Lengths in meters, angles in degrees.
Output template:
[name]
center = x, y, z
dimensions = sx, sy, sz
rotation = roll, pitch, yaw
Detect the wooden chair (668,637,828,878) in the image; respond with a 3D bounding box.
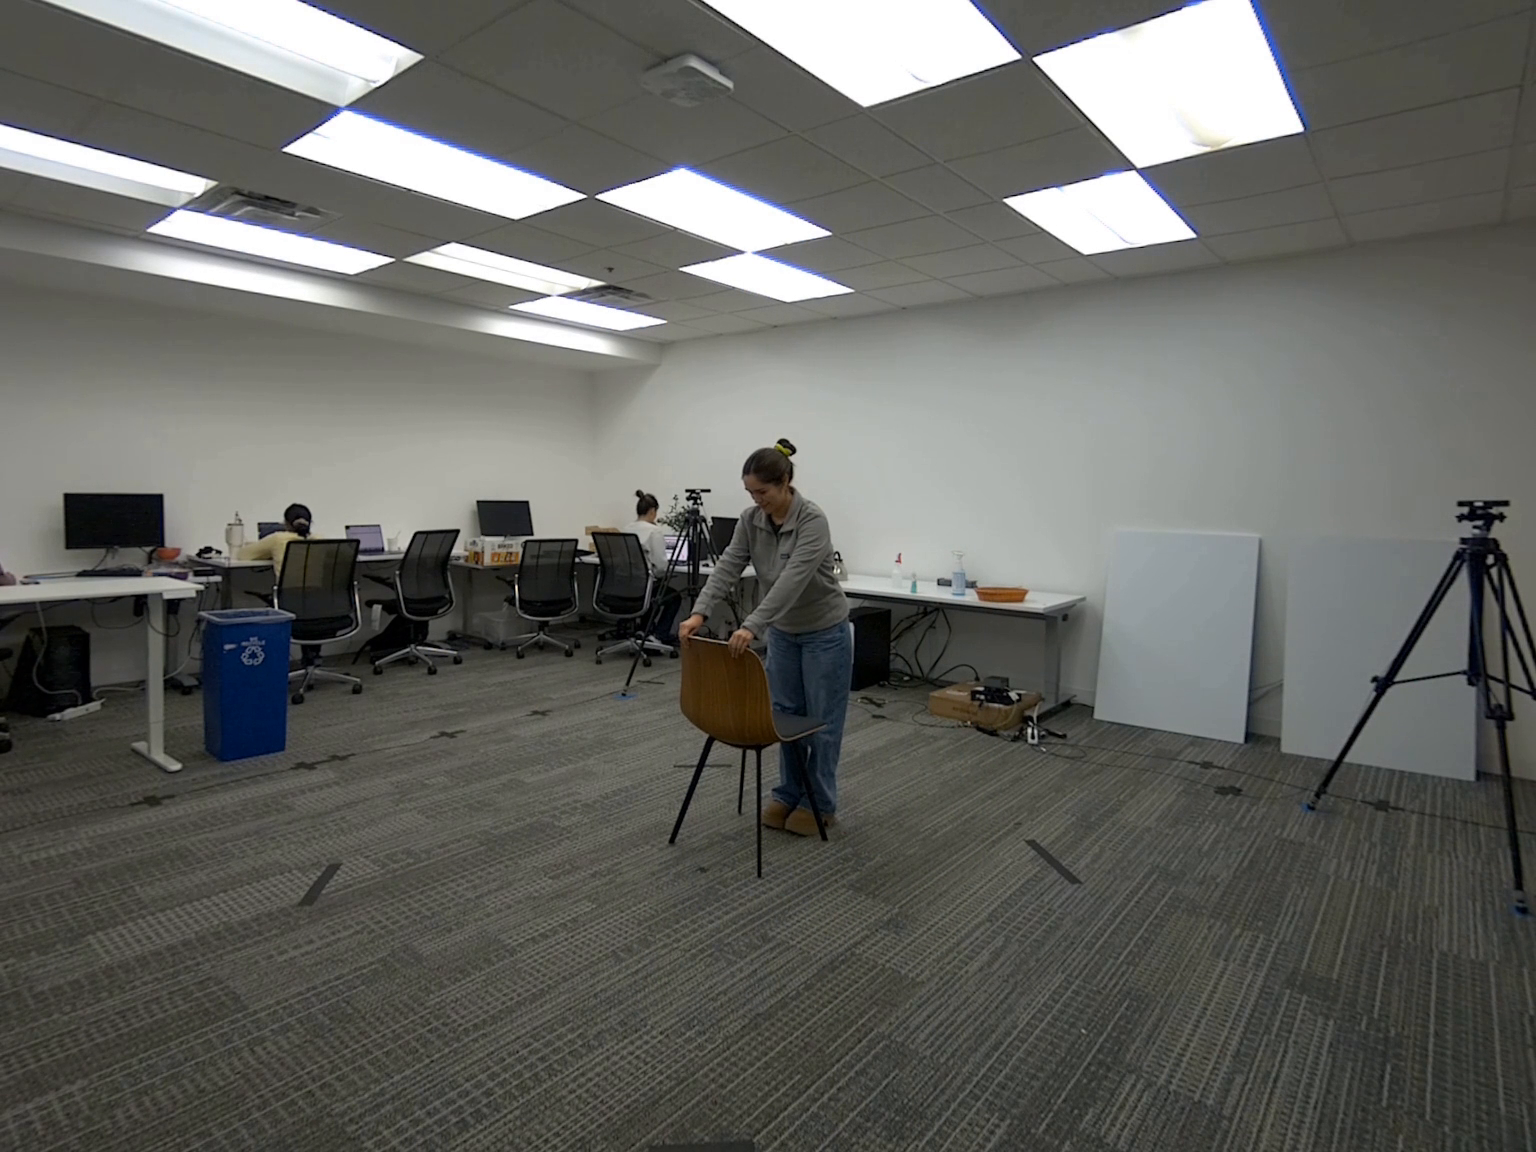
[wooden chair]
center = -0.076, 0.627, 3.343
dimensions = 0.494, 0.872, 0.509
rotation = 4, 8, 38
